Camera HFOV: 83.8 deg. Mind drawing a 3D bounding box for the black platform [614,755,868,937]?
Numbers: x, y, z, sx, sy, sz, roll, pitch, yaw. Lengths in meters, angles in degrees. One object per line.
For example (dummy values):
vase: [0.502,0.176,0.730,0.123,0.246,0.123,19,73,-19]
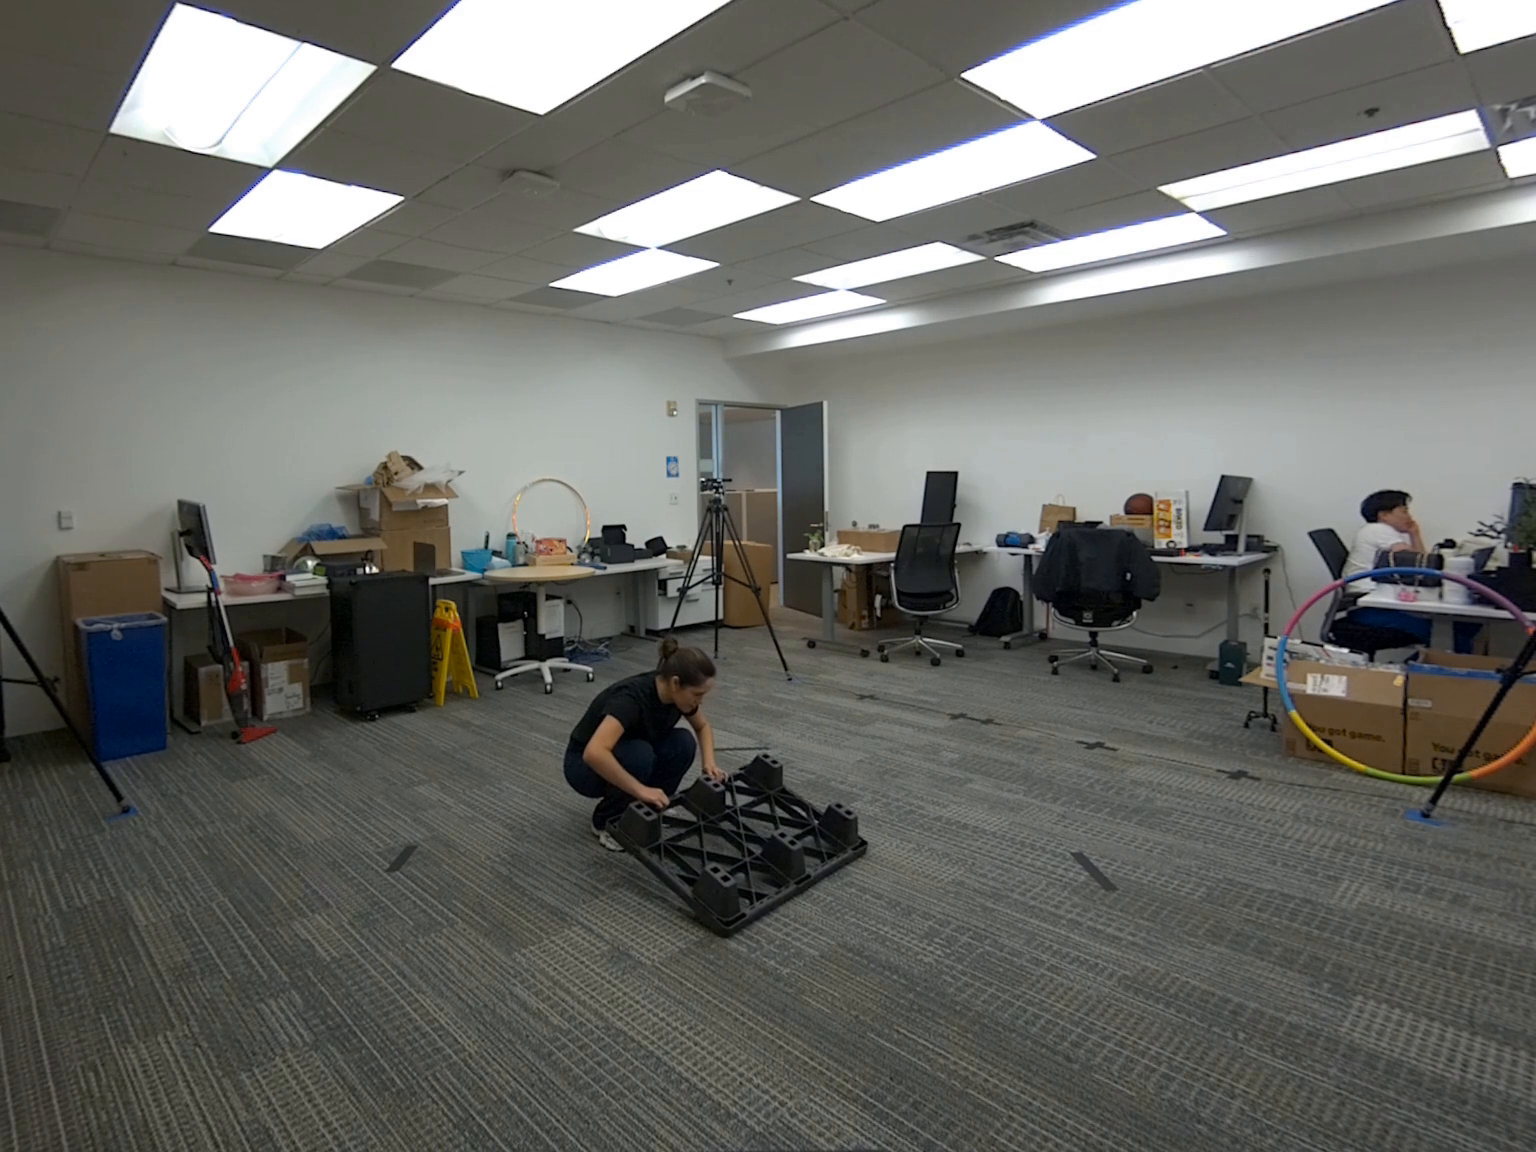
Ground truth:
black platform: [-0.087,0.896,3.067,0.627,0.142,0.785,27,22,36]
